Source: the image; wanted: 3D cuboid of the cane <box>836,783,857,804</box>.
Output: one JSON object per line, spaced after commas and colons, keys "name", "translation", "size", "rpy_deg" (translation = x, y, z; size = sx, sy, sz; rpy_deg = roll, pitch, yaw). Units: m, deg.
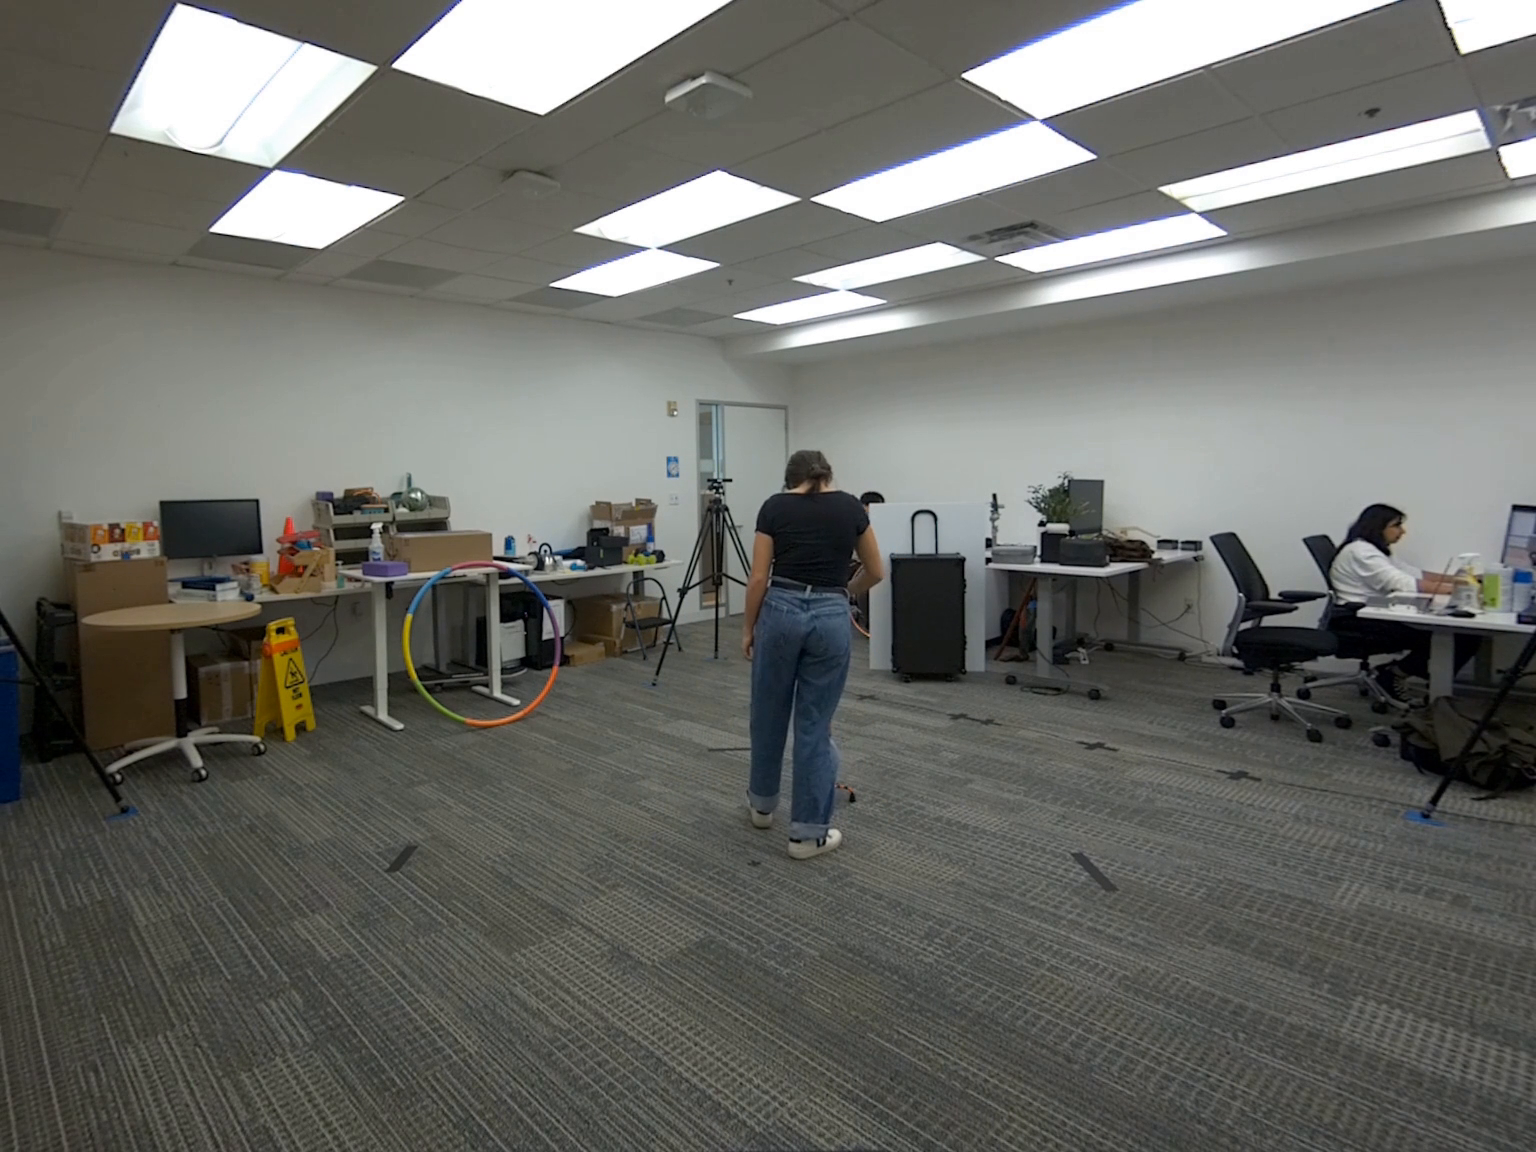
{"name": "cane", "translation": [0.288, 0.524, 3.672], "size": [0.148, 0.901, 0.213], "rpy_deg": [-4, 11, -35]}
